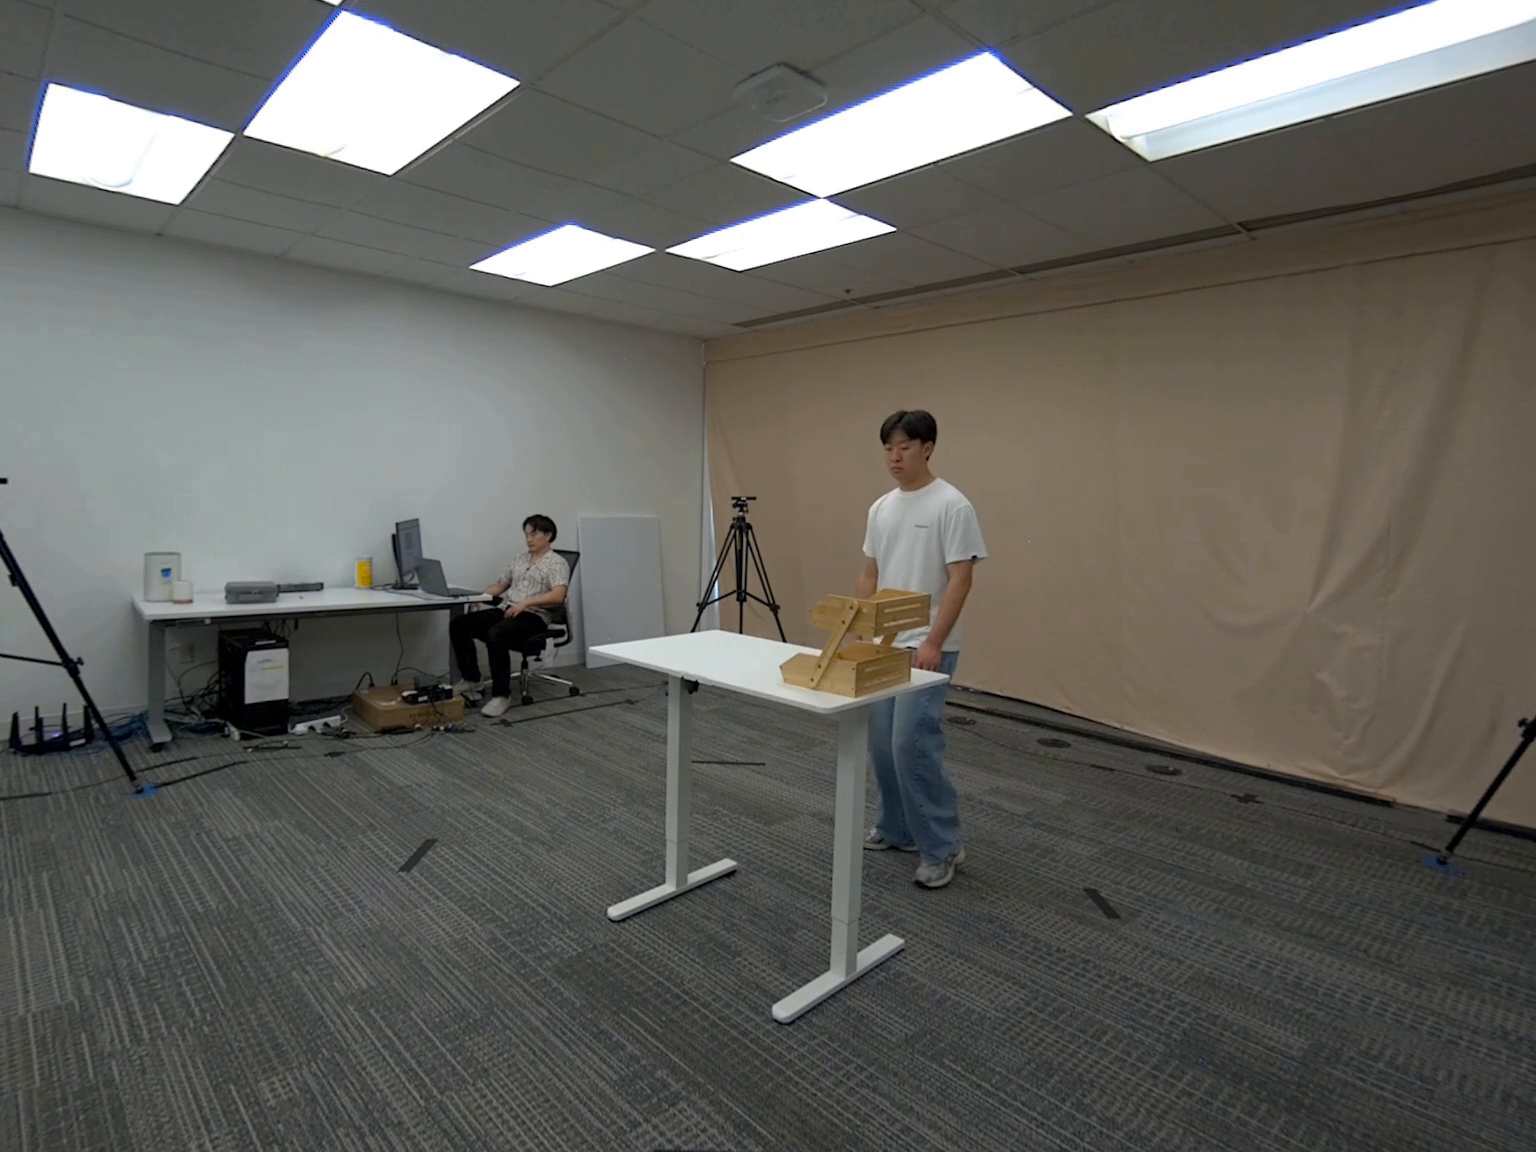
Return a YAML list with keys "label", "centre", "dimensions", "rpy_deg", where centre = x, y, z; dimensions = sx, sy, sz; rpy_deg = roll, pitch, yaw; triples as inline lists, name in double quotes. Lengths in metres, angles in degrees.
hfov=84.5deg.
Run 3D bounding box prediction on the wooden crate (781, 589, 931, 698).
- label: "wooden crate"
  centre: [0.242, 0.172, 2.366]
  dimensions: [0.310, 0.272, 0.317]
  rpy_deg: [6, 7, 38]
